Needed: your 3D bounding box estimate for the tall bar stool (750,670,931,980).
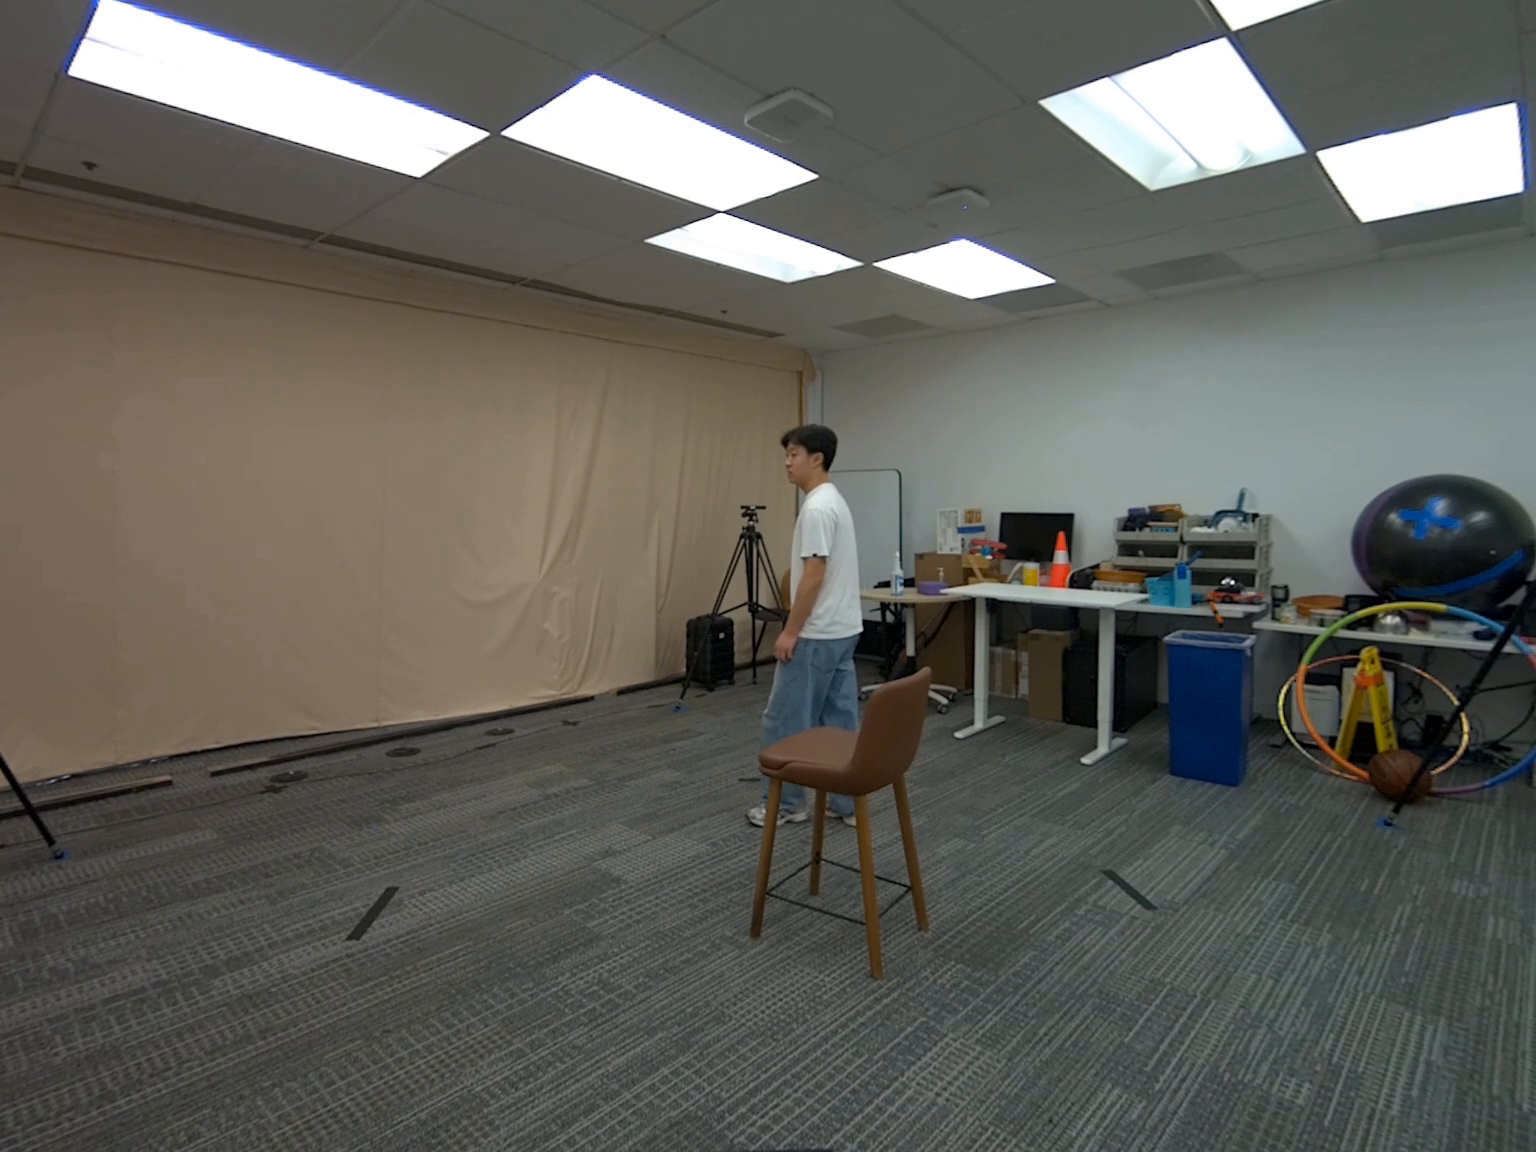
[{"bbox_3d":[0.242,0.728,2.726,0.483,0.887,0.443,4,5,35],"label":"tall bar stool"}]
